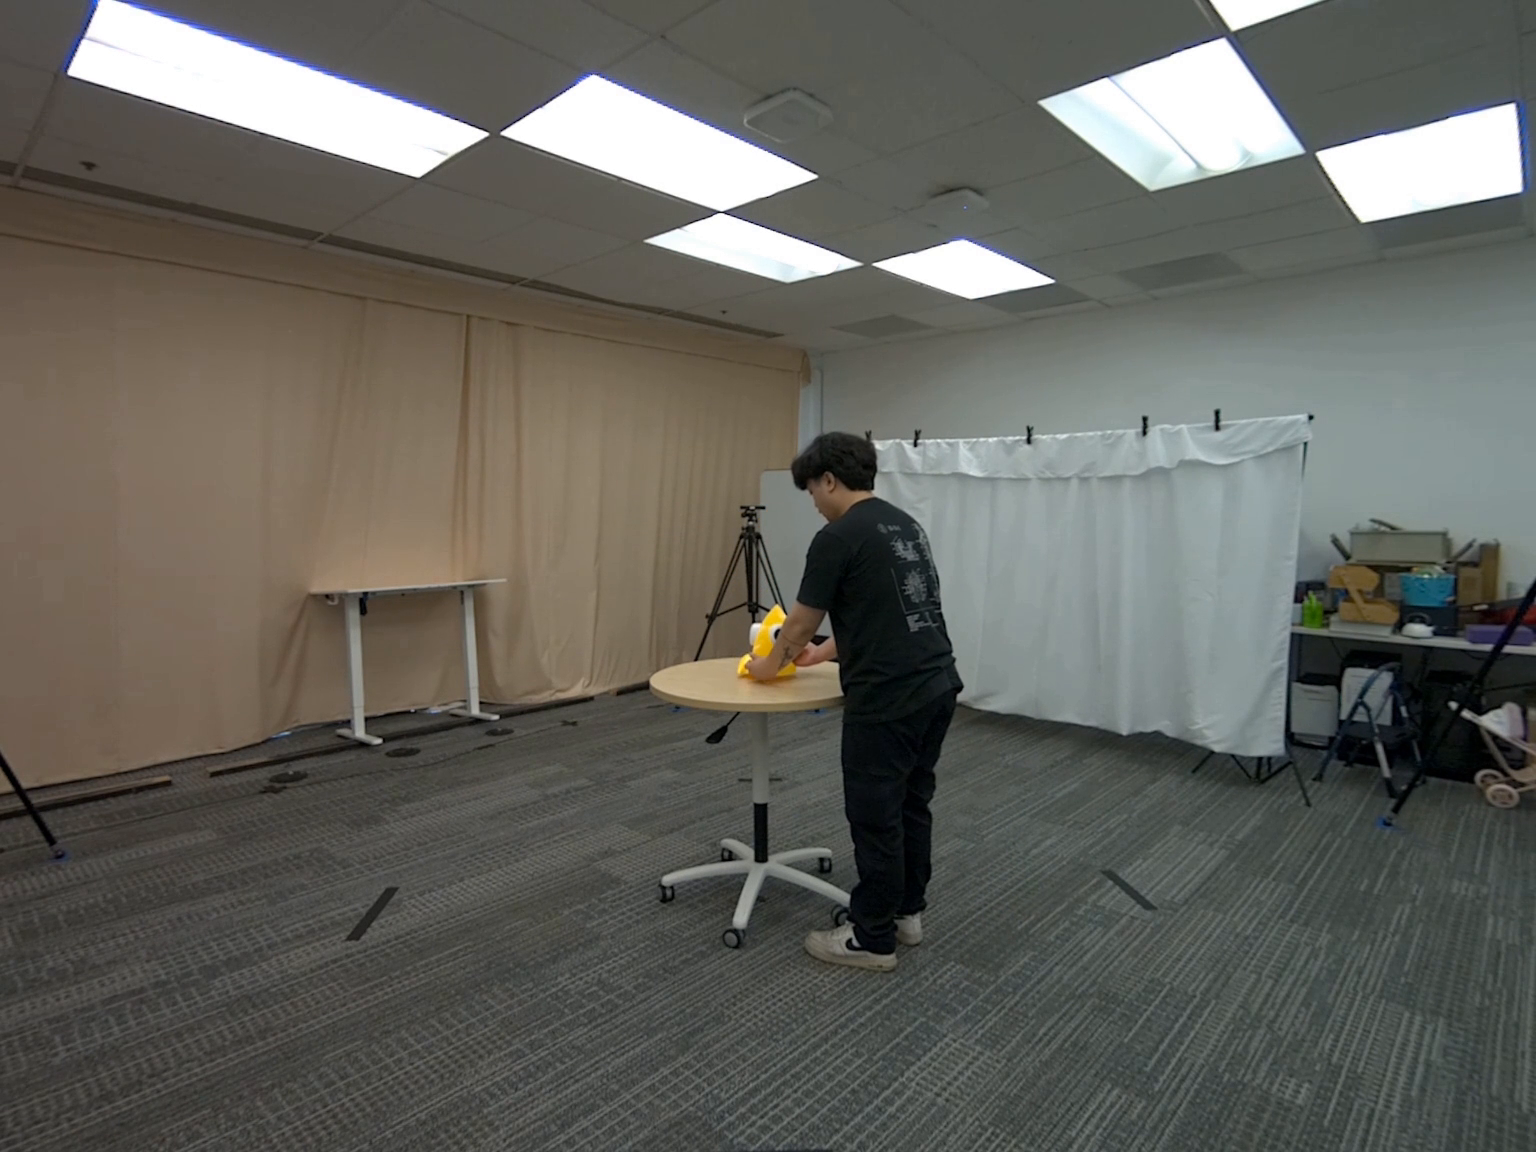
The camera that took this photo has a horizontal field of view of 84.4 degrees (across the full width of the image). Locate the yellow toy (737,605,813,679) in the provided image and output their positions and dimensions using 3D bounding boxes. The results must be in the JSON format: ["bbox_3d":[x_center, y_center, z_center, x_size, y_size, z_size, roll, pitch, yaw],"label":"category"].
[{"bbox_3d":[0.004,0.220,2.941,0.211,0.230,0.187,-1,1,41],"label":"yellow toy"}]
